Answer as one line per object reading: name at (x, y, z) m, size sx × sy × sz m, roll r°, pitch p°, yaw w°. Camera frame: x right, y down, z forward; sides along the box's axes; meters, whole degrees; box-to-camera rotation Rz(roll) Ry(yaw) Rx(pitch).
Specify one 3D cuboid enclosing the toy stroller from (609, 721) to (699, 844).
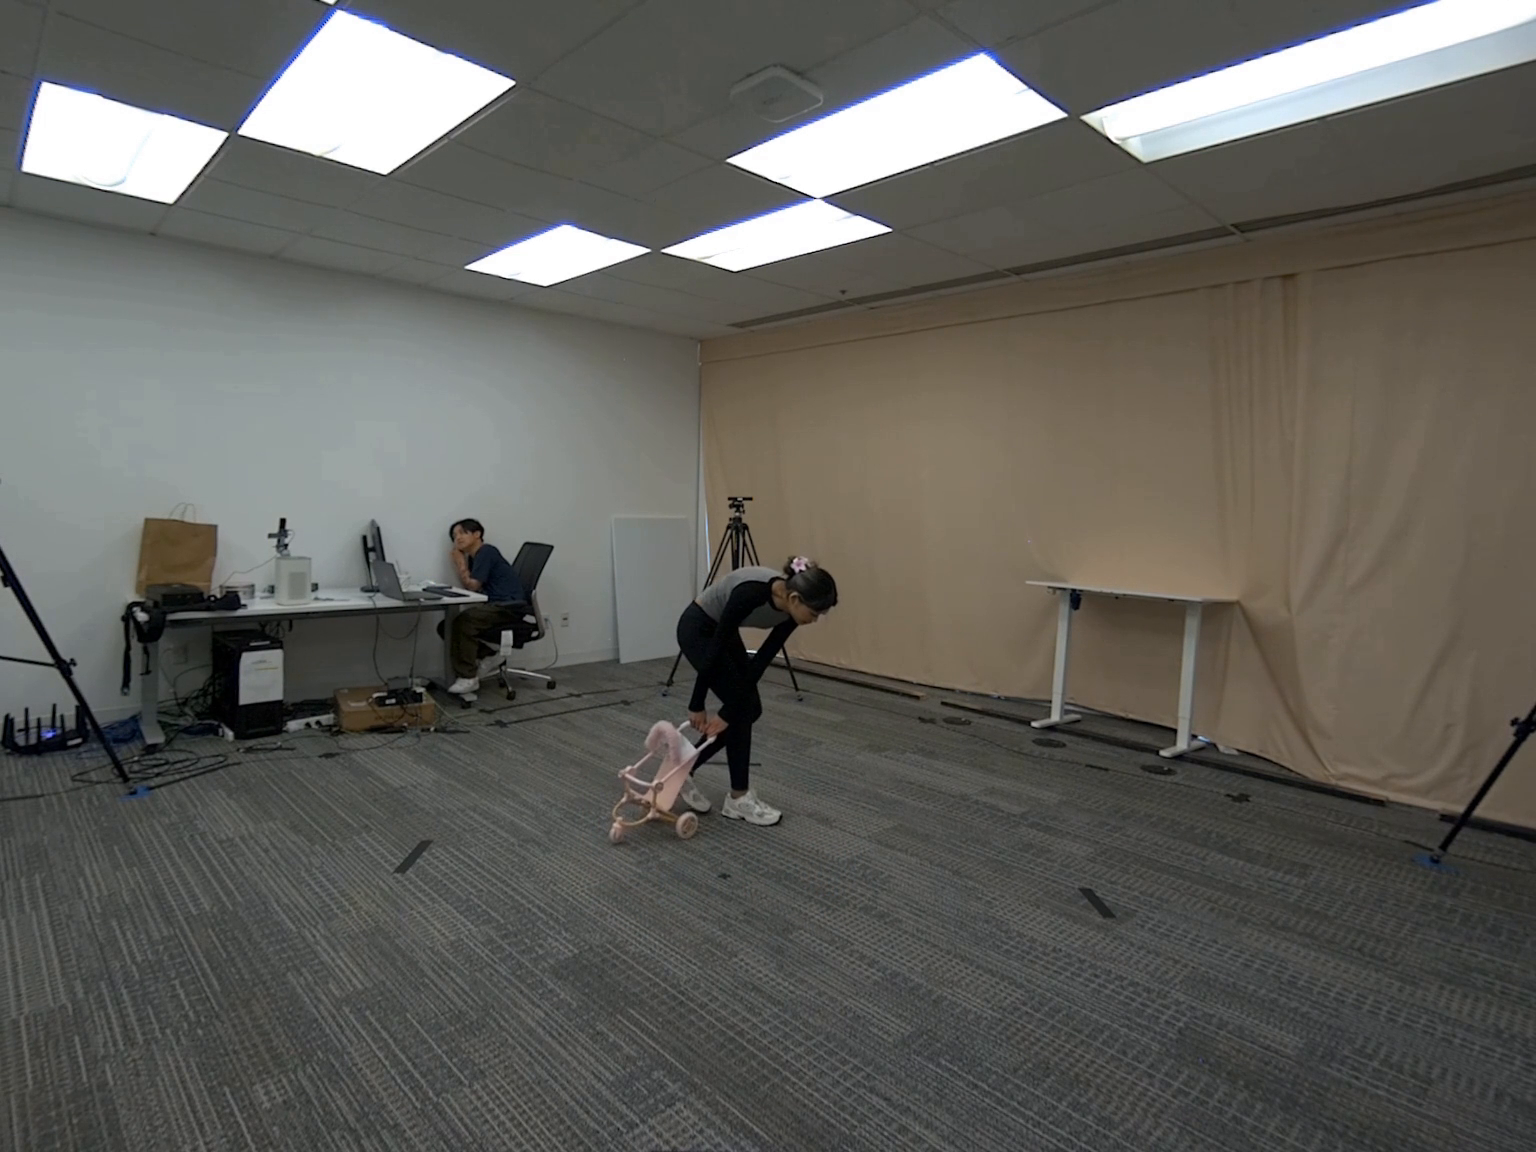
toy stroller at (-0.462, 0.841, 3.475) m, size 0.331 × 0.536 × 0.289 m, roll 21°, pitch -6°, yaw -38°
